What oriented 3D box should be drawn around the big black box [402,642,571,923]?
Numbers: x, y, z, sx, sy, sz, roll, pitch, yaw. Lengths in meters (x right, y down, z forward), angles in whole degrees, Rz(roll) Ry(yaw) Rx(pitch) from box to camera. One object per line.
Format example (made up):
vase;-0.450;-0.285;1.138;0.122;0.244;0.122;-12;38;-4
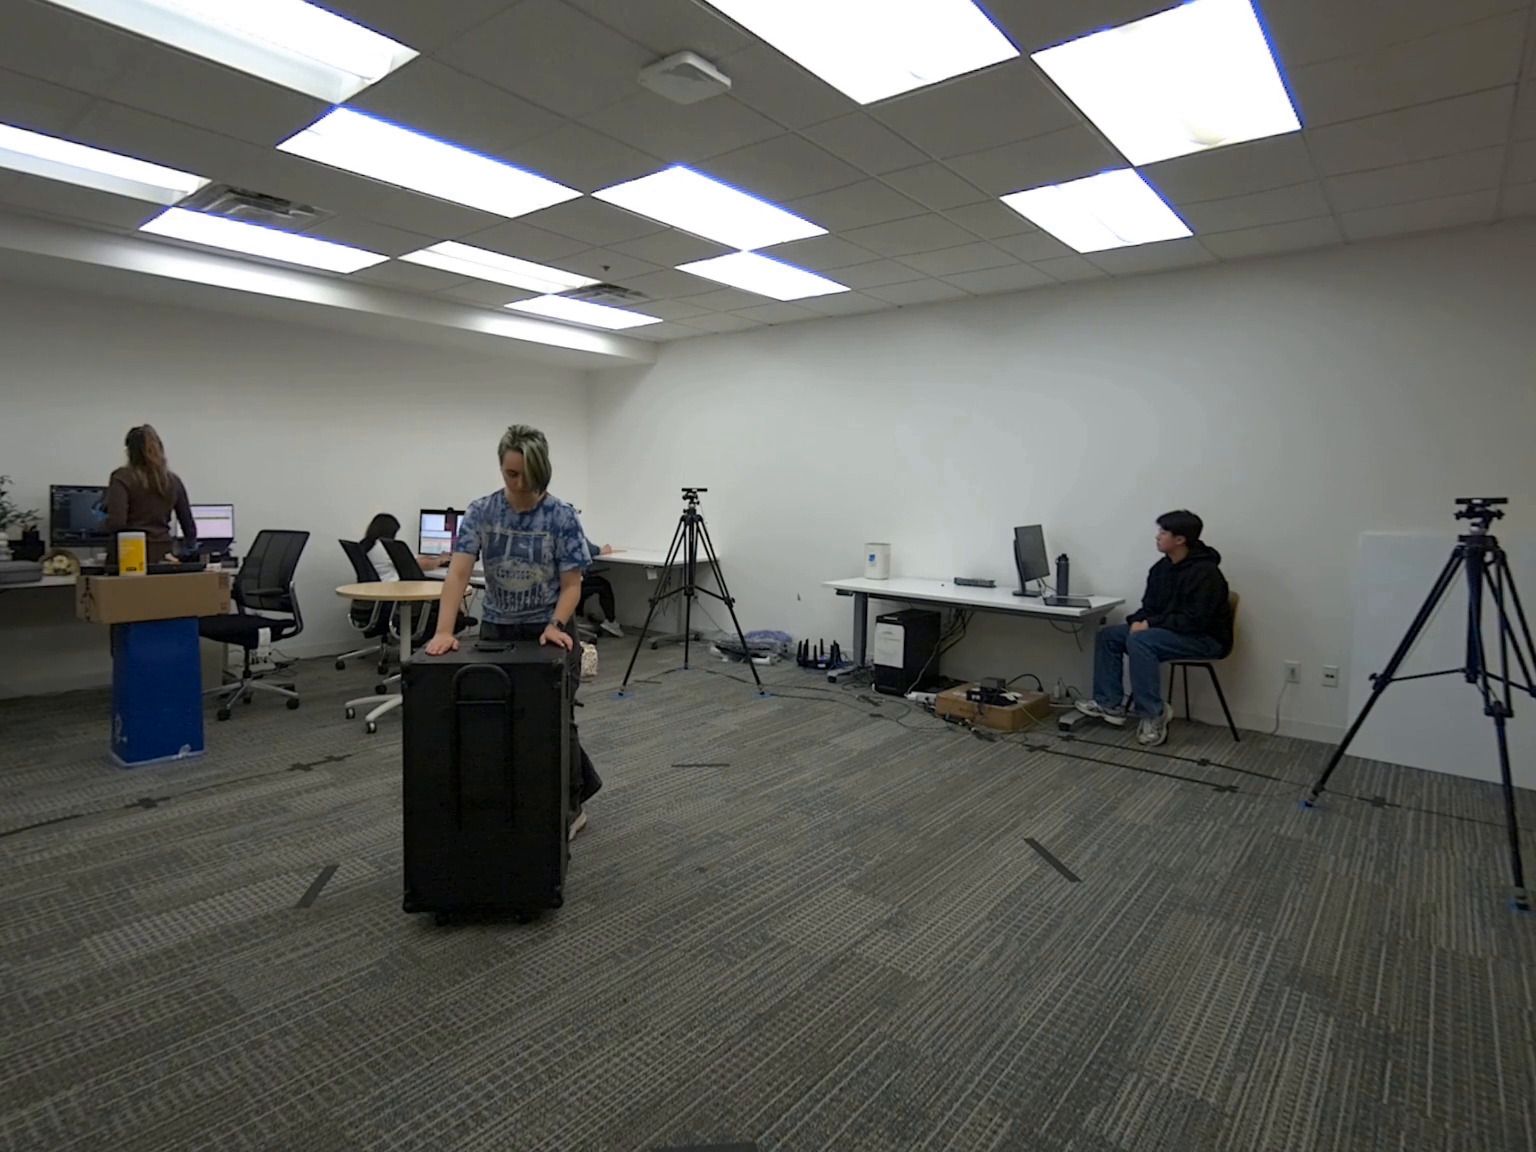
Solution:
big black box;-0.907;0.667;2.779;0.517;0.858;0.401;1;5;-7
